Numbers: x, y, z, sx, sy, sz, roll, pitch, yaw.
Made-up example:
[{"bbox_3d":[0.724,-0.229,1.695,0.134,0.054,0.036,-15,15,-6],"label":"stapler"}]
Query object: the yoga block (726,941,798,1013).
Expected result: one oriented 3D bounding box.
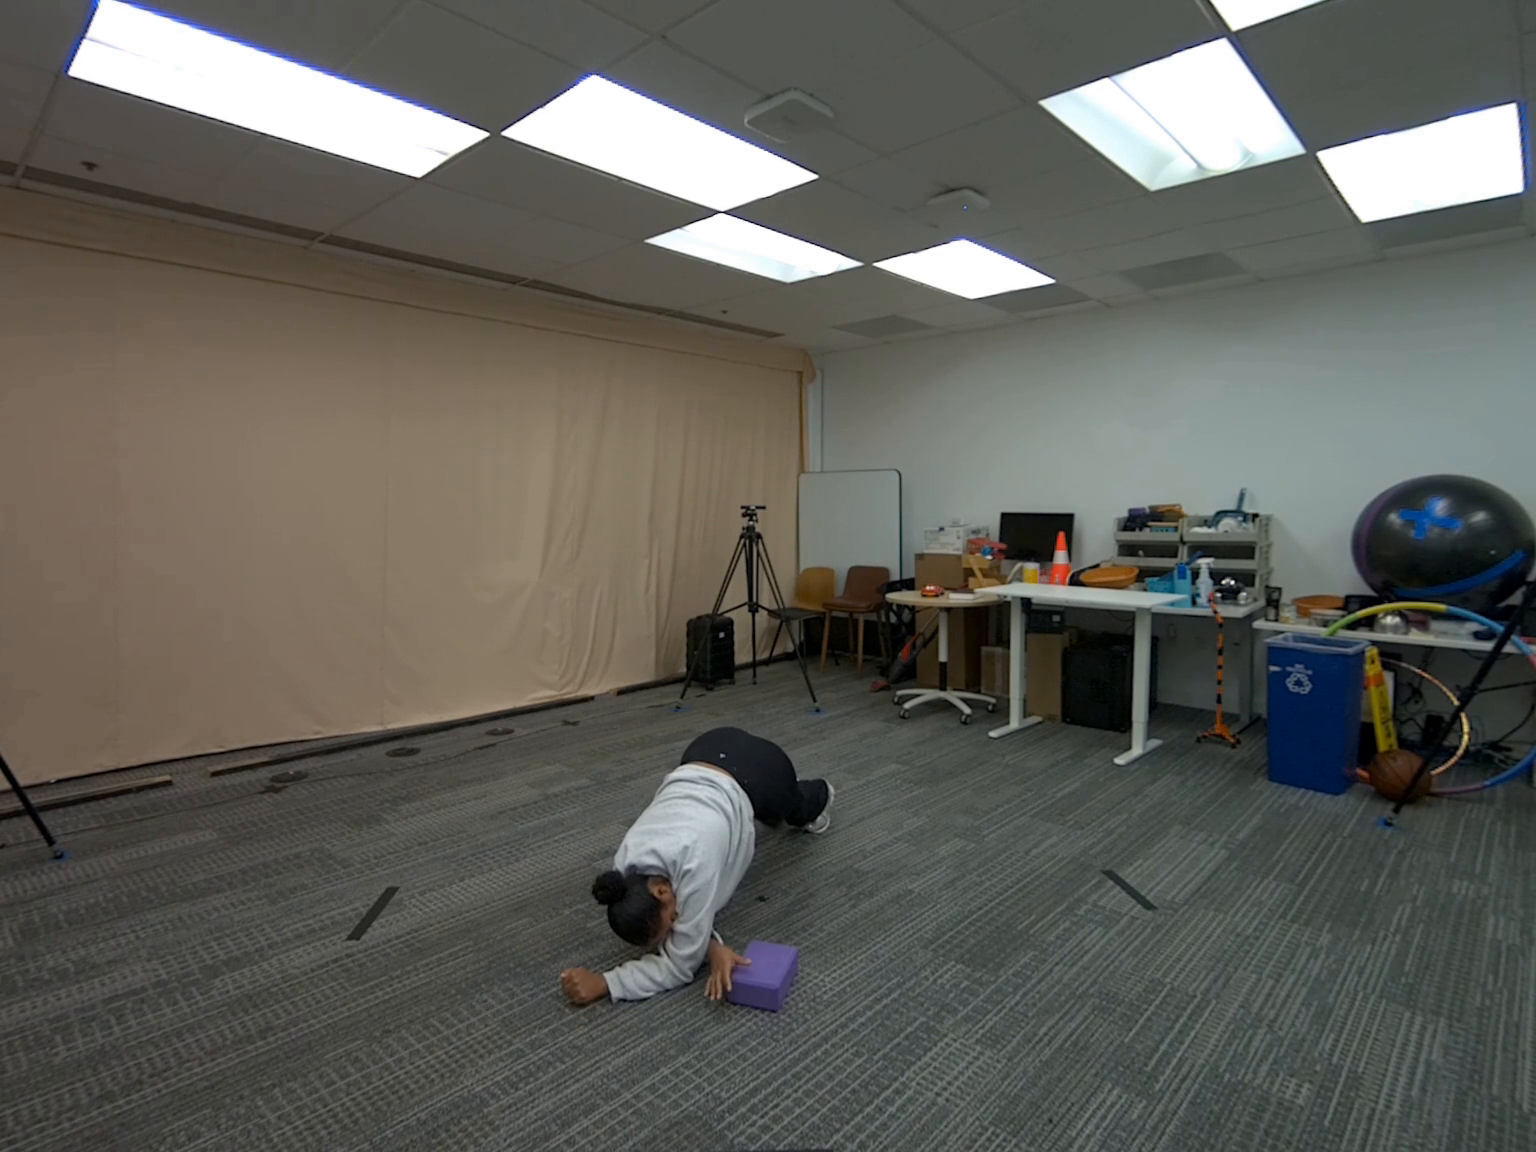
[{"bbox_3d":[-0.014,1.144,2.429,0.152,0.076,0.225,2,5,18],"label":"yoga block"}]
